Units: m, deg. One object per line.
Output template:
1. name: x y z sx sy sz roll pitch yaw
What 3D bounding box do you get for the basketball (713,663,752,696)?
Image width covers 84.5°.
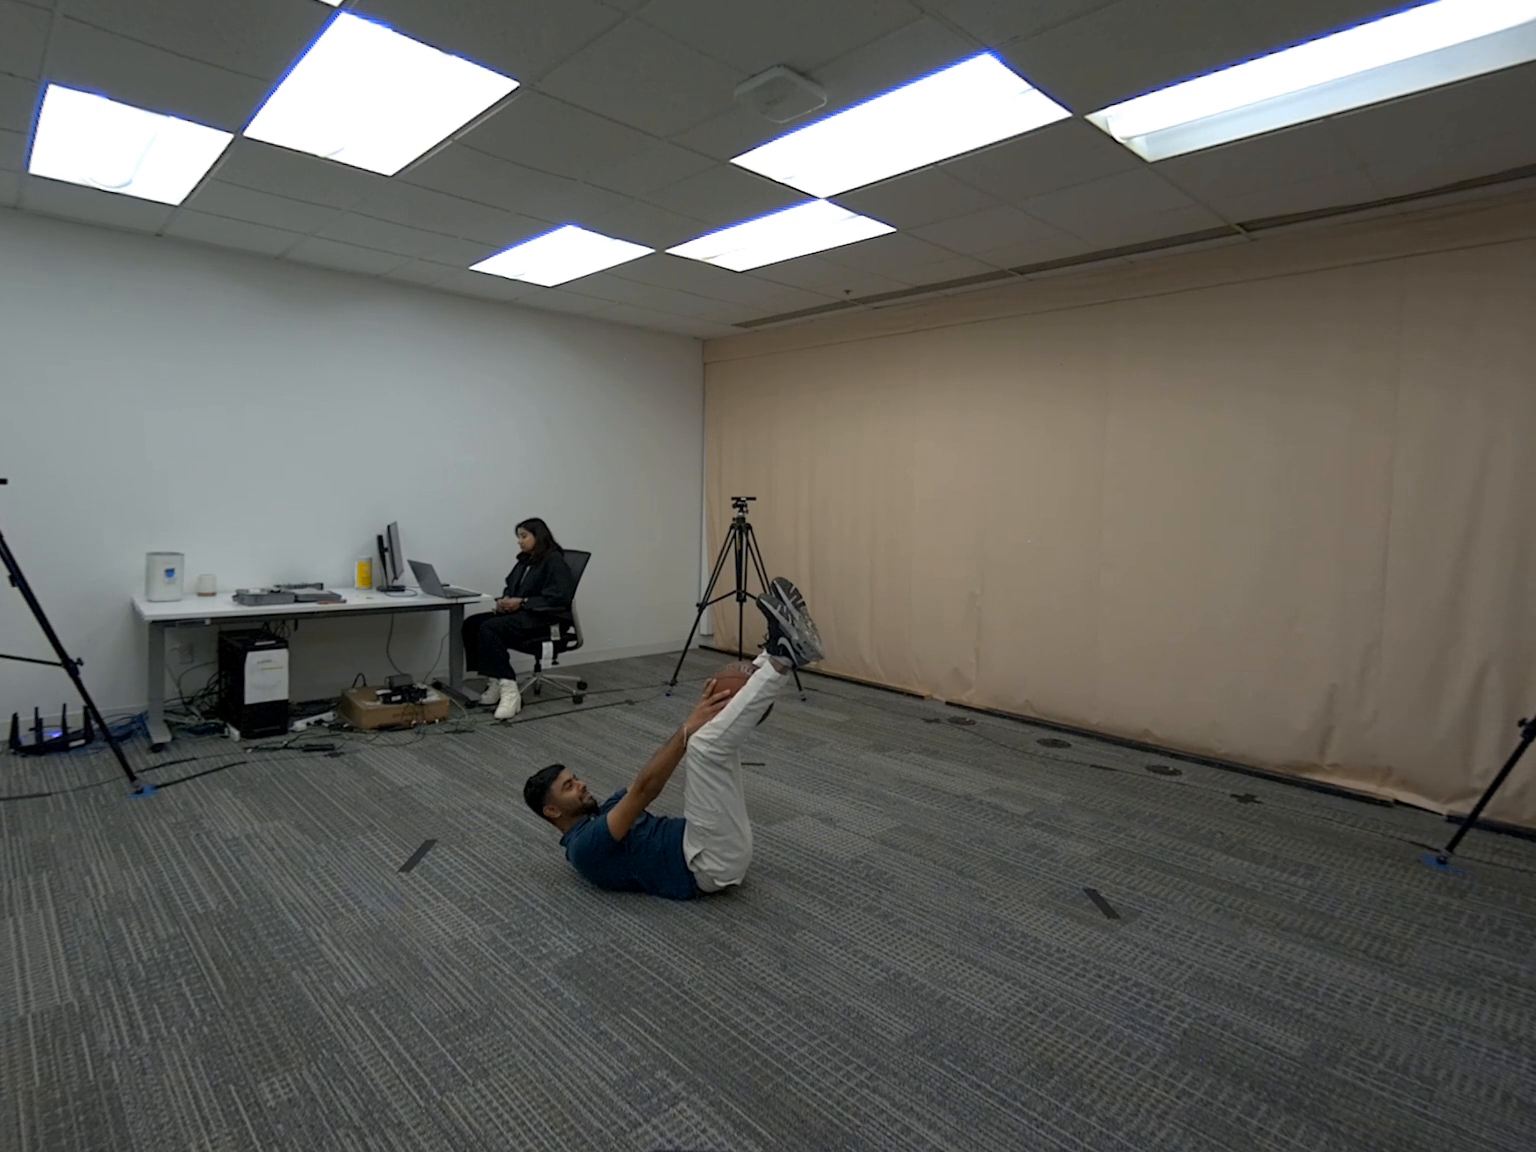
1. basketball: -0.091 0.420 2.961 0.236 0.235 0.237 1 4 -1
